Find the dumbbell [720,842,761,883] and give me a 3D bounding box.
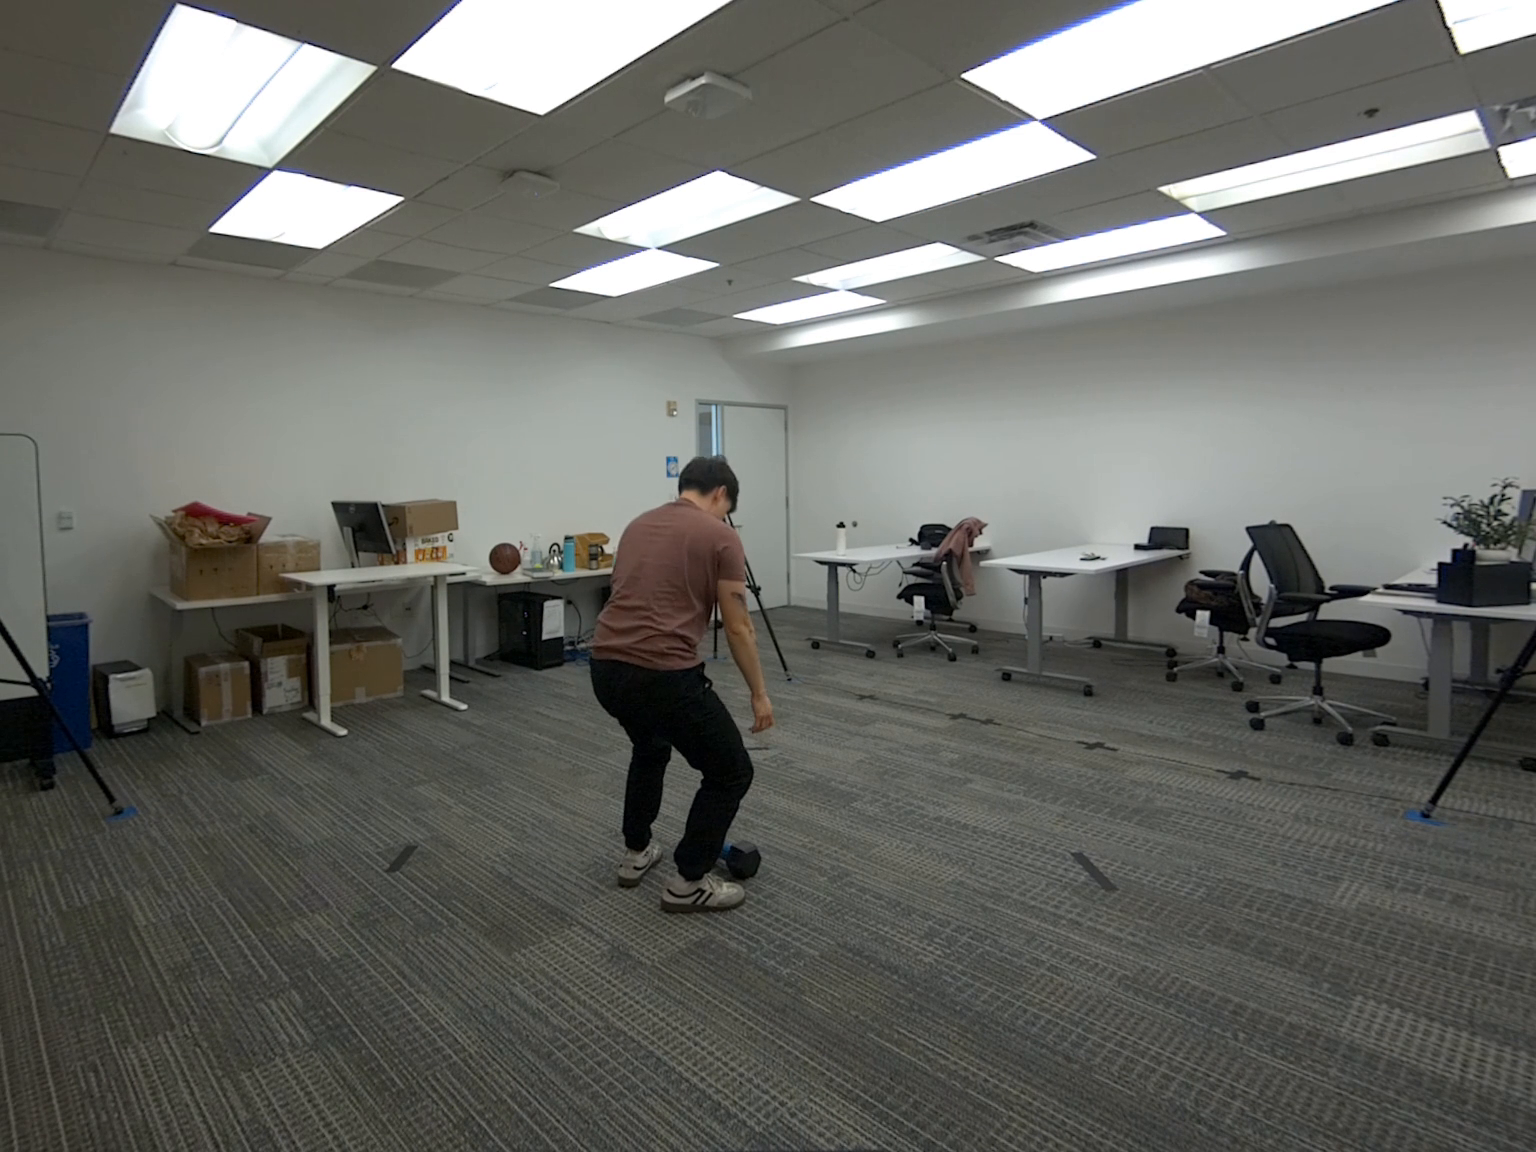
[{"bbox_3d":[-0.160,0.989,3.086,0.303,0.120,0.108,6,35,47],"label":"dumbbell"}]
